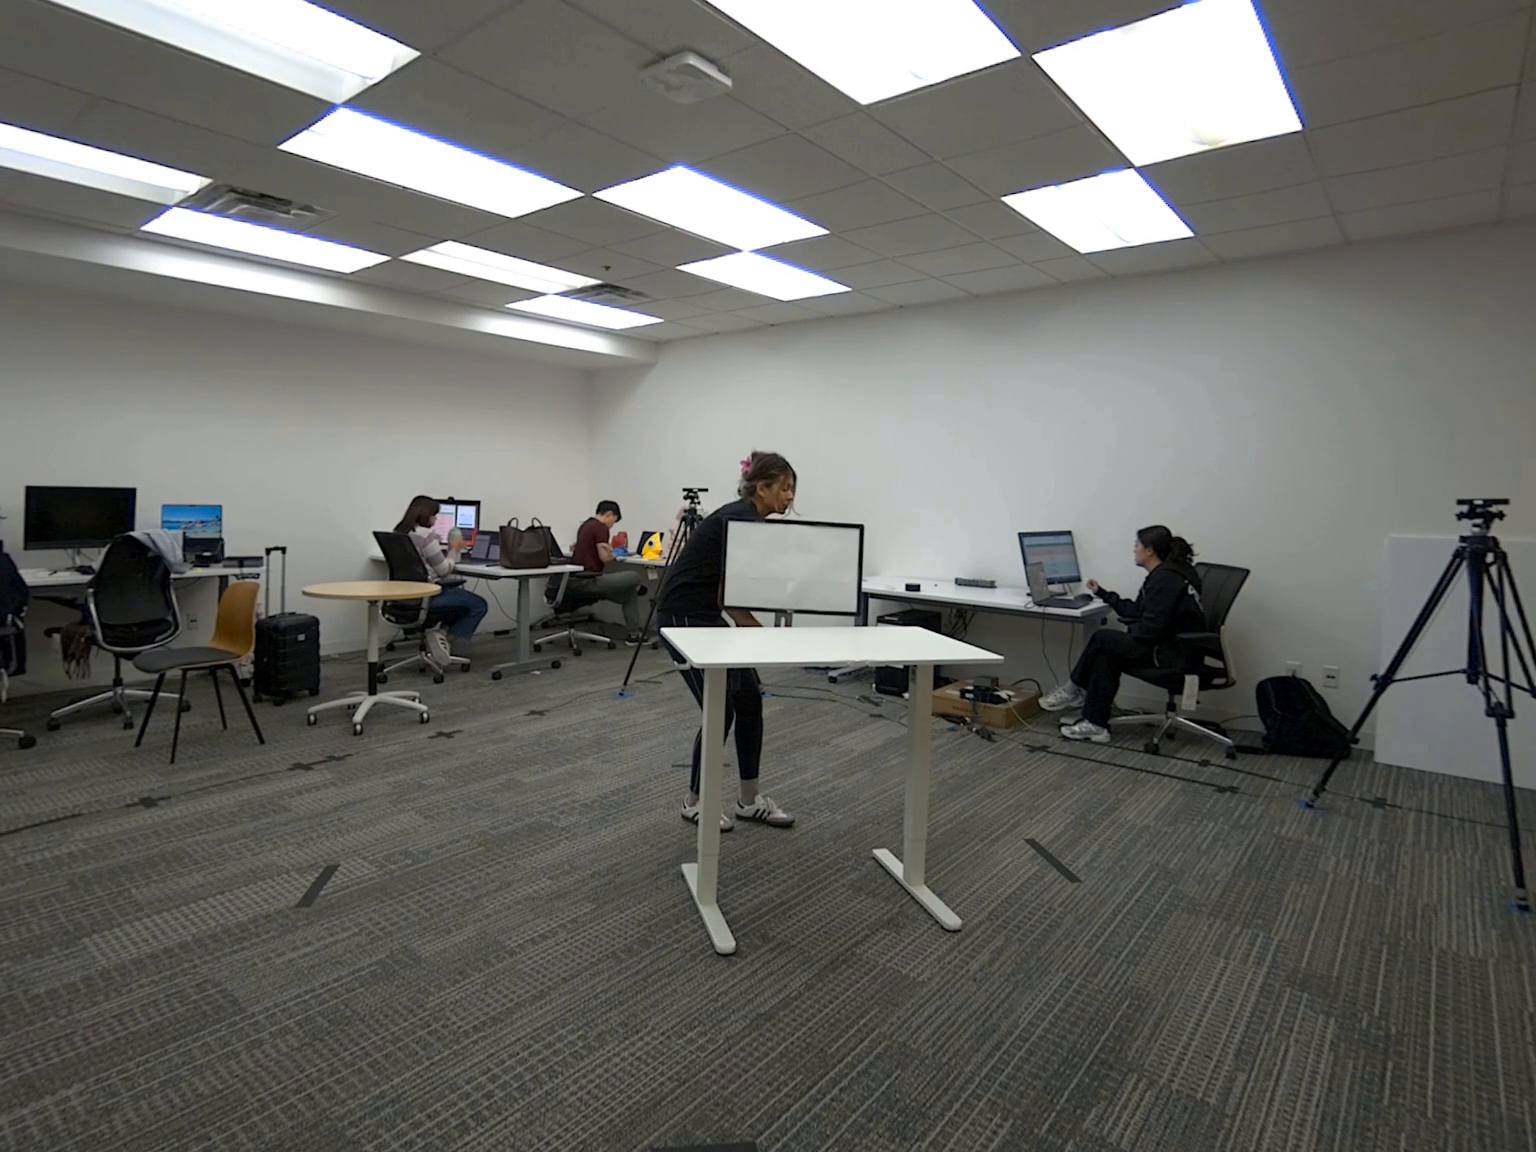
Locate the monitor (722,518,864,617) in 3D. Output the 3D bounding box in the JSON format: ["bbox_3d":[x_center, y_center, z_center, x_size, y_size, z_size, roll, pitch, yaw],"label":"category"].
[{"bbox_3d":[0.082,0.045,3.379,0.534,0.518,0.190,2,10,-8],"label":"monitor"}]
